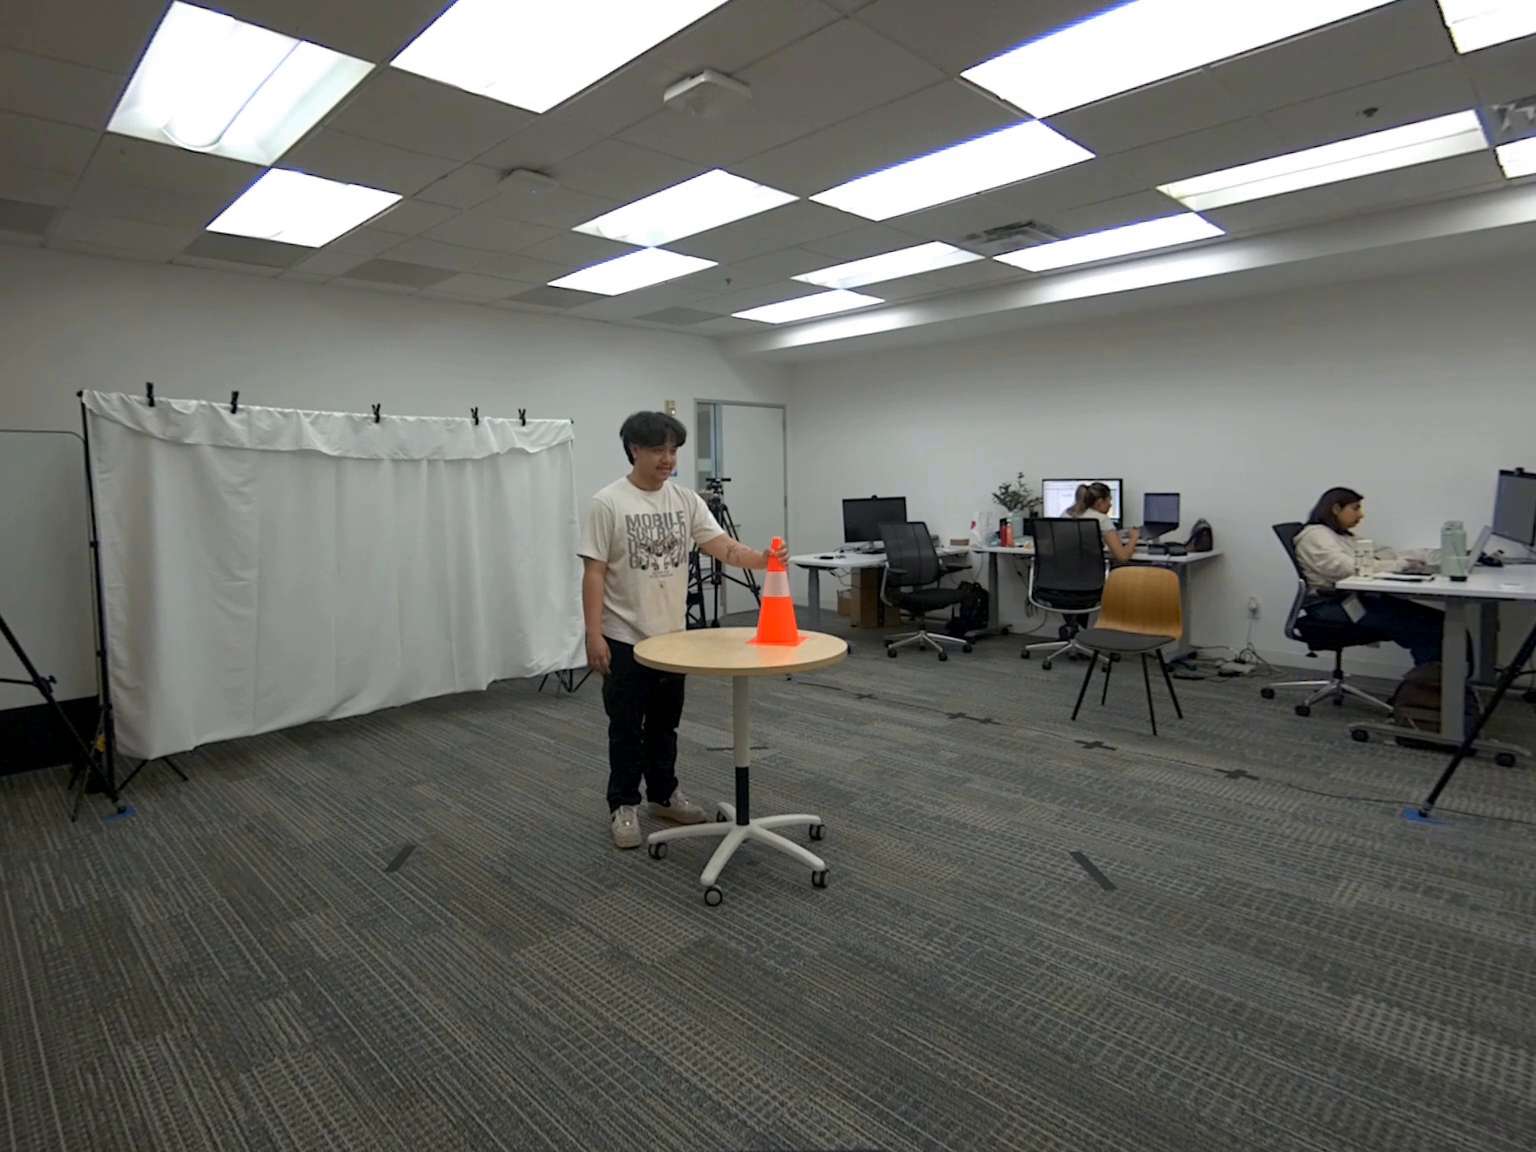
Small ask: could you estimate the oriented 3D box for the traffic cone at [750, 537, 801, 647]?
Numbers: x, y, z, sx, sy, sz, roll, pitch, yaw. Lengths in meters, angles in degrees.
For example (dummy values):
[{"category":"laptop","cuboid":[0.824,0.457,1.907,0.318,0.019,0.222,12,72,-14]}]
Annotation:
[{"category":"traffic cone","cuboid":[0.031,0.050,3.148,0.207,0.382,0.202,-1,4,17]}]
